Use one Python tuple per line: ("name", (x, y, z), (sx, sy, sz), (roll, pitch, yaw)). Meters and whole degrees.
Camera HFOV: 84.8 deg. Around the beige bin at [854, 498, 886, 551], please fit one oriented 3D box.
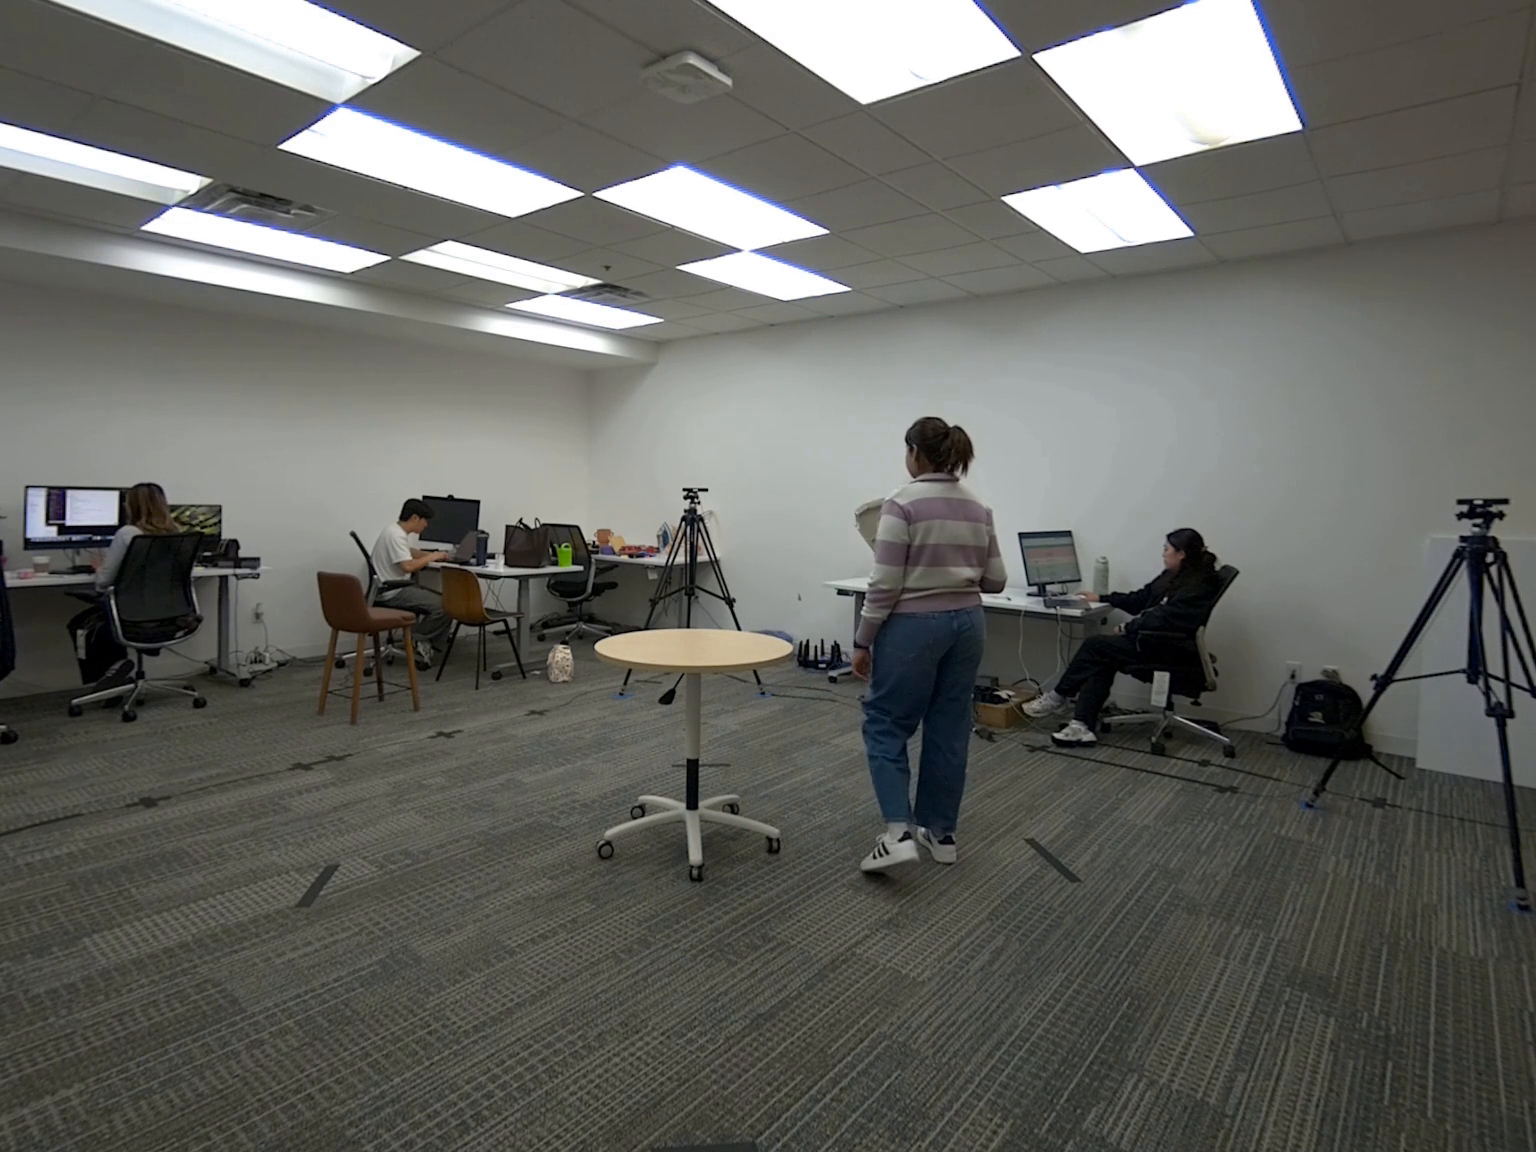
("beige bin", (0.514, -0.152, 3.613), (0.189, 0.378, 0.421), (-36, 1, 8))
